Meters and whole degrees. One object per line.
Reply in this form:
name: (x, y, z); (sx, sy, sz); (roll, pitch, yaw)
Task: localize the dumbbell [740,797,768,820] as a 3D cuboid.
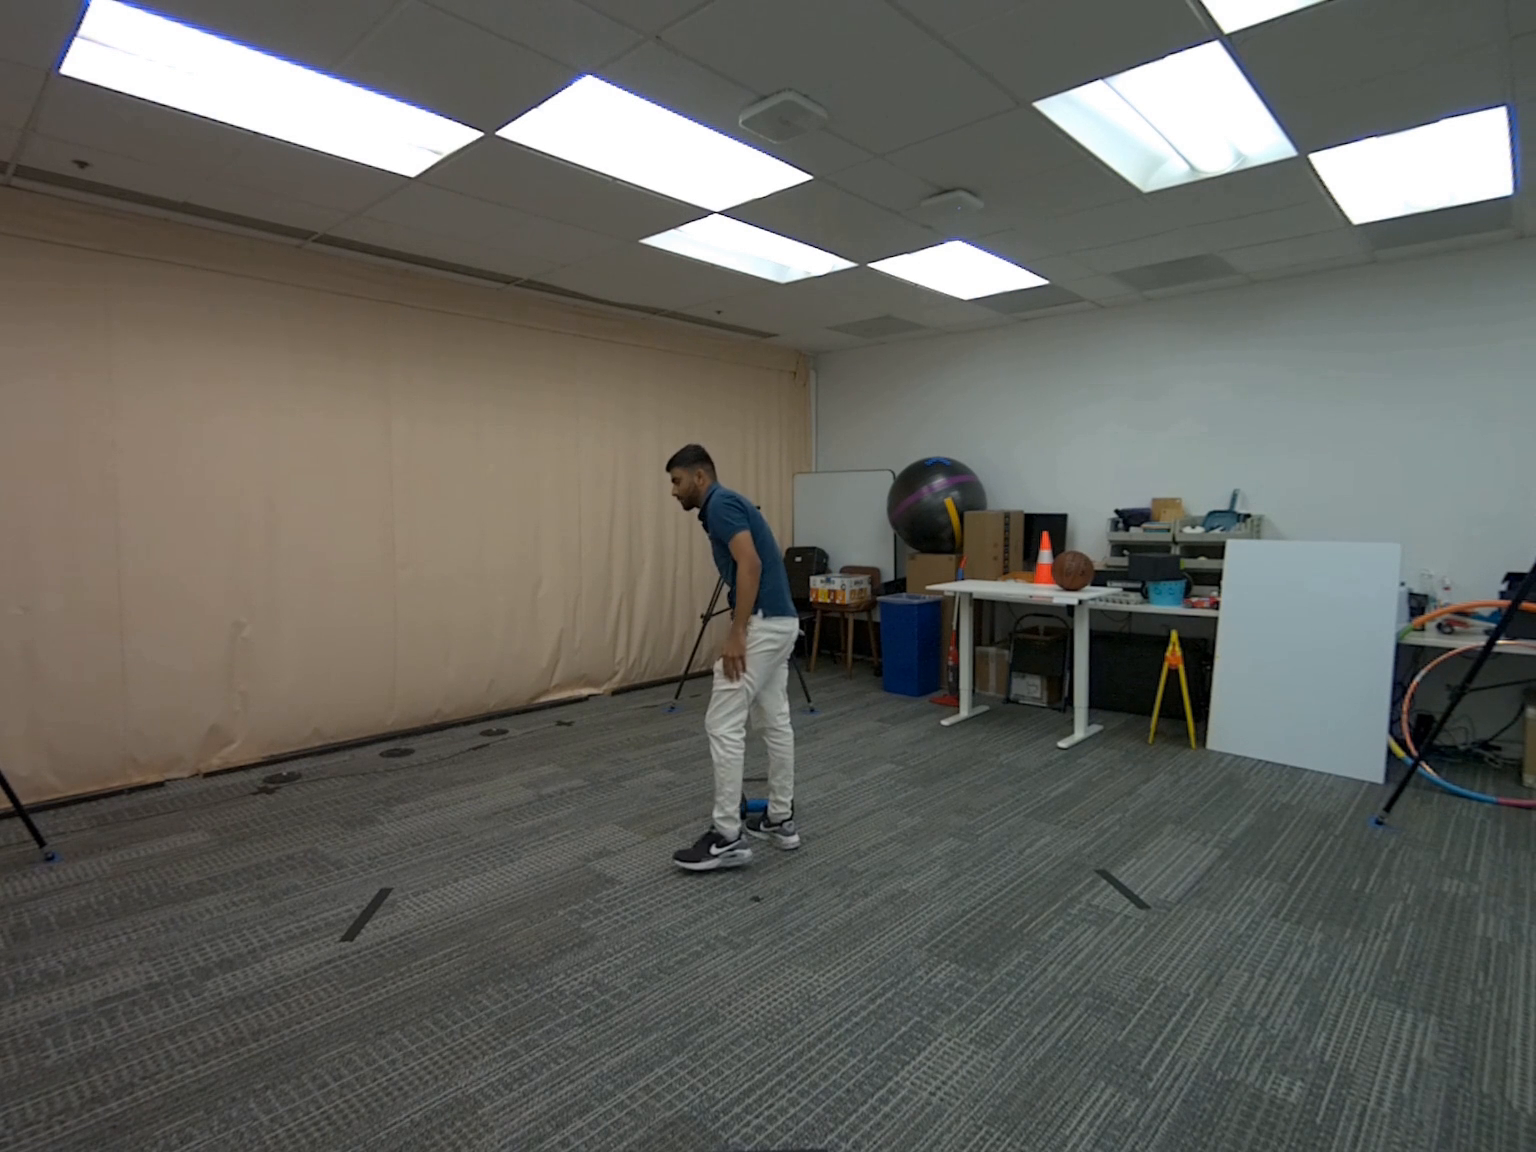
dumbbell: (-0.040, 1.026, 3.768); (0.292, 0.121, 0.111); (0, 33, -5)
